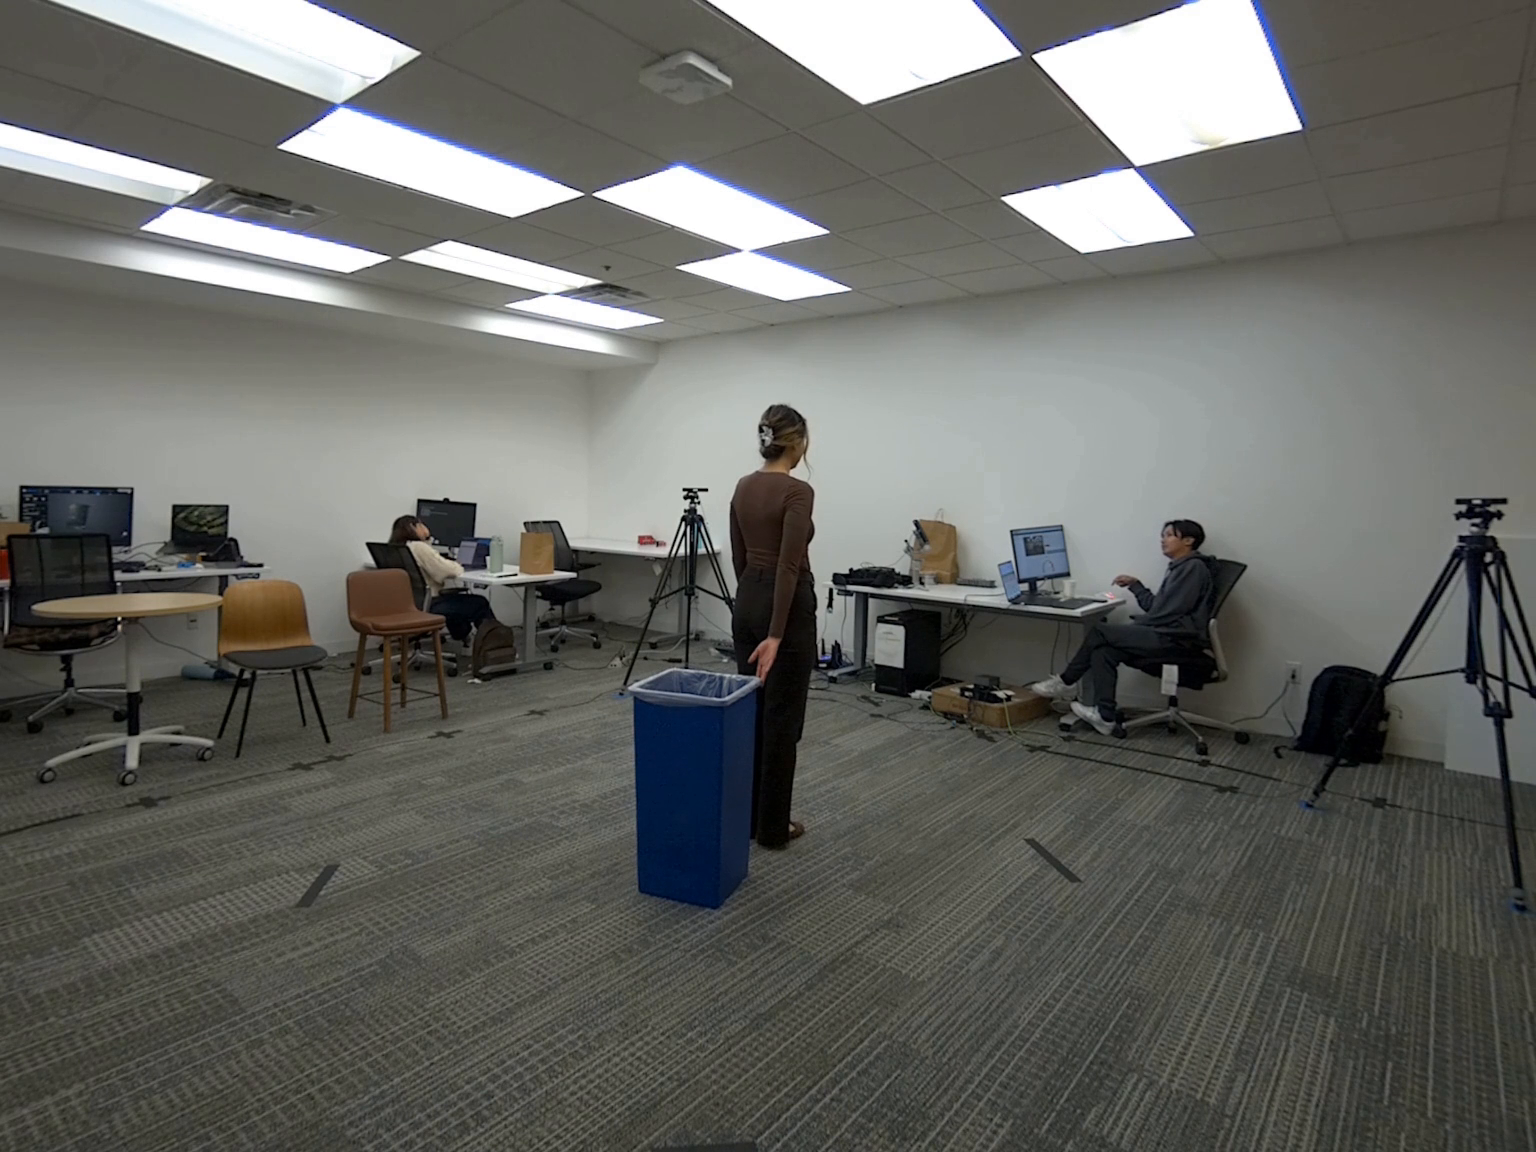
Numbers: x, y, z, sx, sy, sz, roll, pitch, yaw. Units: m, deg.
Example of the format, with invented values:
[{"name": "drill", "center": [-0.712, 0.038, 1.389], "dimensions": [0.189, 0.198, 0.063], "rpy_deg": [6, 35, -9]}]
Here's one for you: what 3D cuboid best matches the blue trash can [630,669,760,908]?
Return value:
[{"name": "blue trash can", "center": [-0.260, 0.721, 2.985], "dimensions": [0.382, 0.712, 0.371], "rpy_deg": [1, 3, 20]}]
